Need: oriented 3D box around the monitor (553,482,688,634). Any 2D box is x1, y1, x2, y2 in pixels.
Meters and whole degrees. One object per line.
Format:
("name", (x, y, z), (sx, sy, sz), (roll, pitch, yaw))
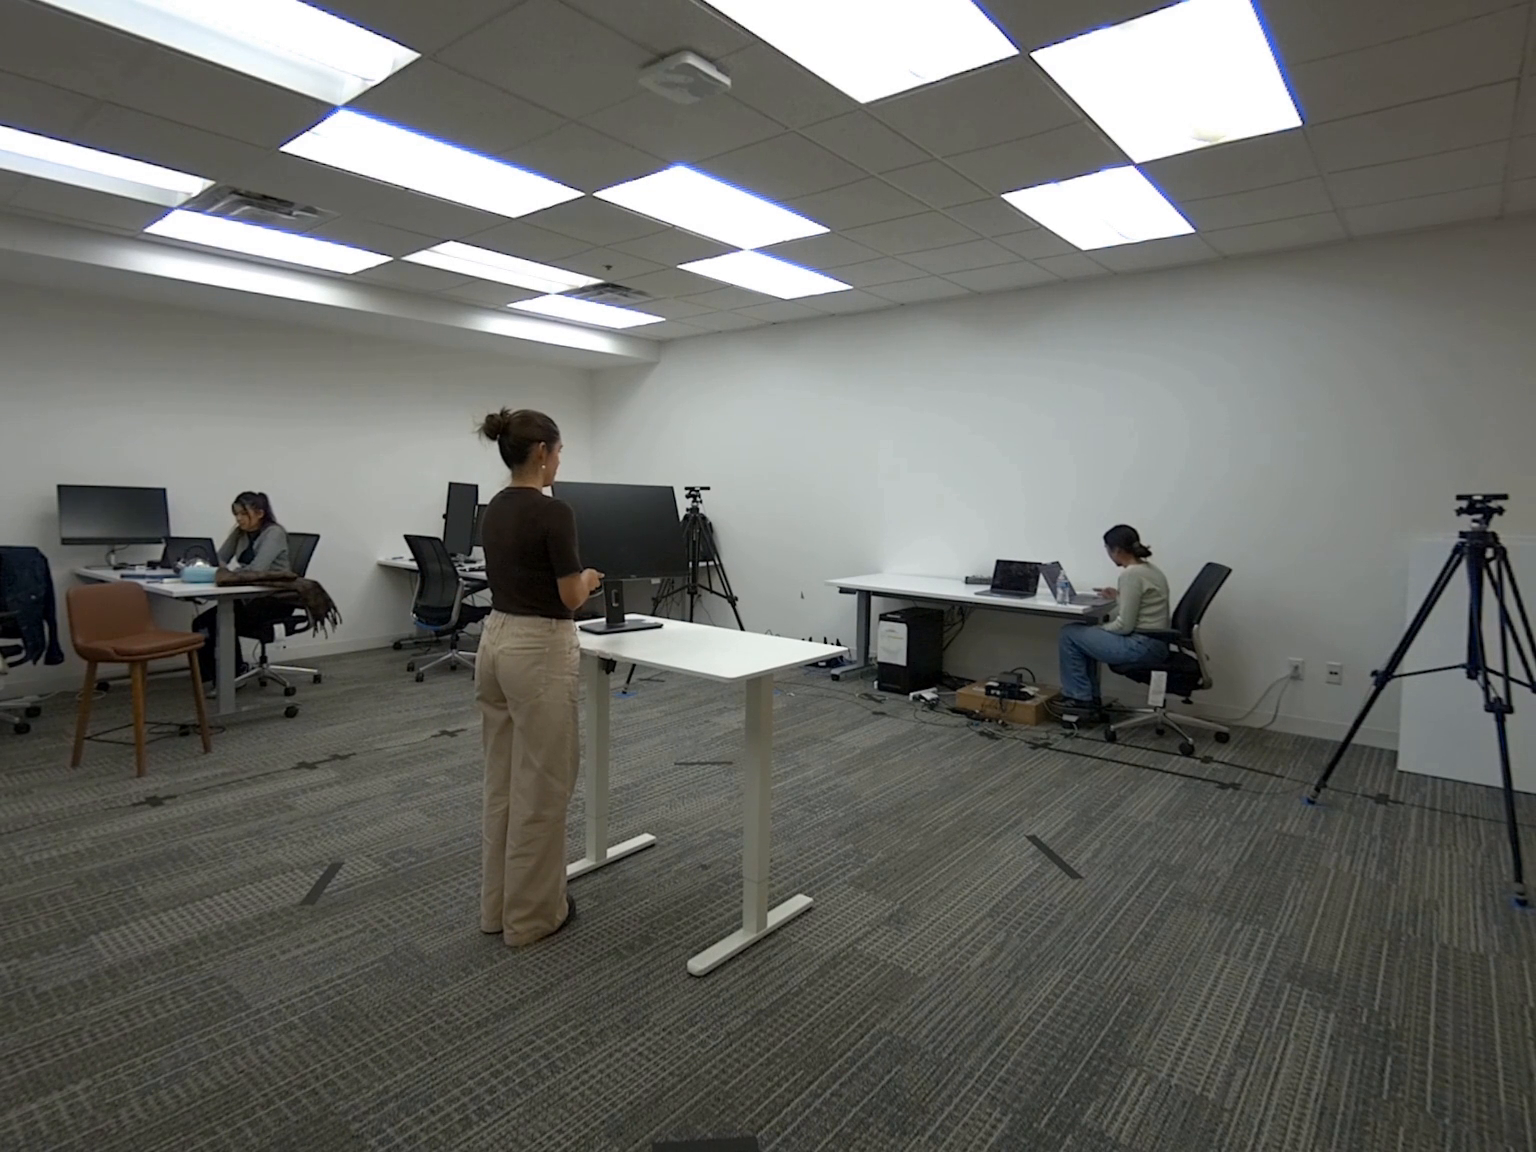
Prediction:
("monitor", (-0.553, -0.071, 3.039), (0.522, 0.524, 0.192), (-1, -2, -41))
